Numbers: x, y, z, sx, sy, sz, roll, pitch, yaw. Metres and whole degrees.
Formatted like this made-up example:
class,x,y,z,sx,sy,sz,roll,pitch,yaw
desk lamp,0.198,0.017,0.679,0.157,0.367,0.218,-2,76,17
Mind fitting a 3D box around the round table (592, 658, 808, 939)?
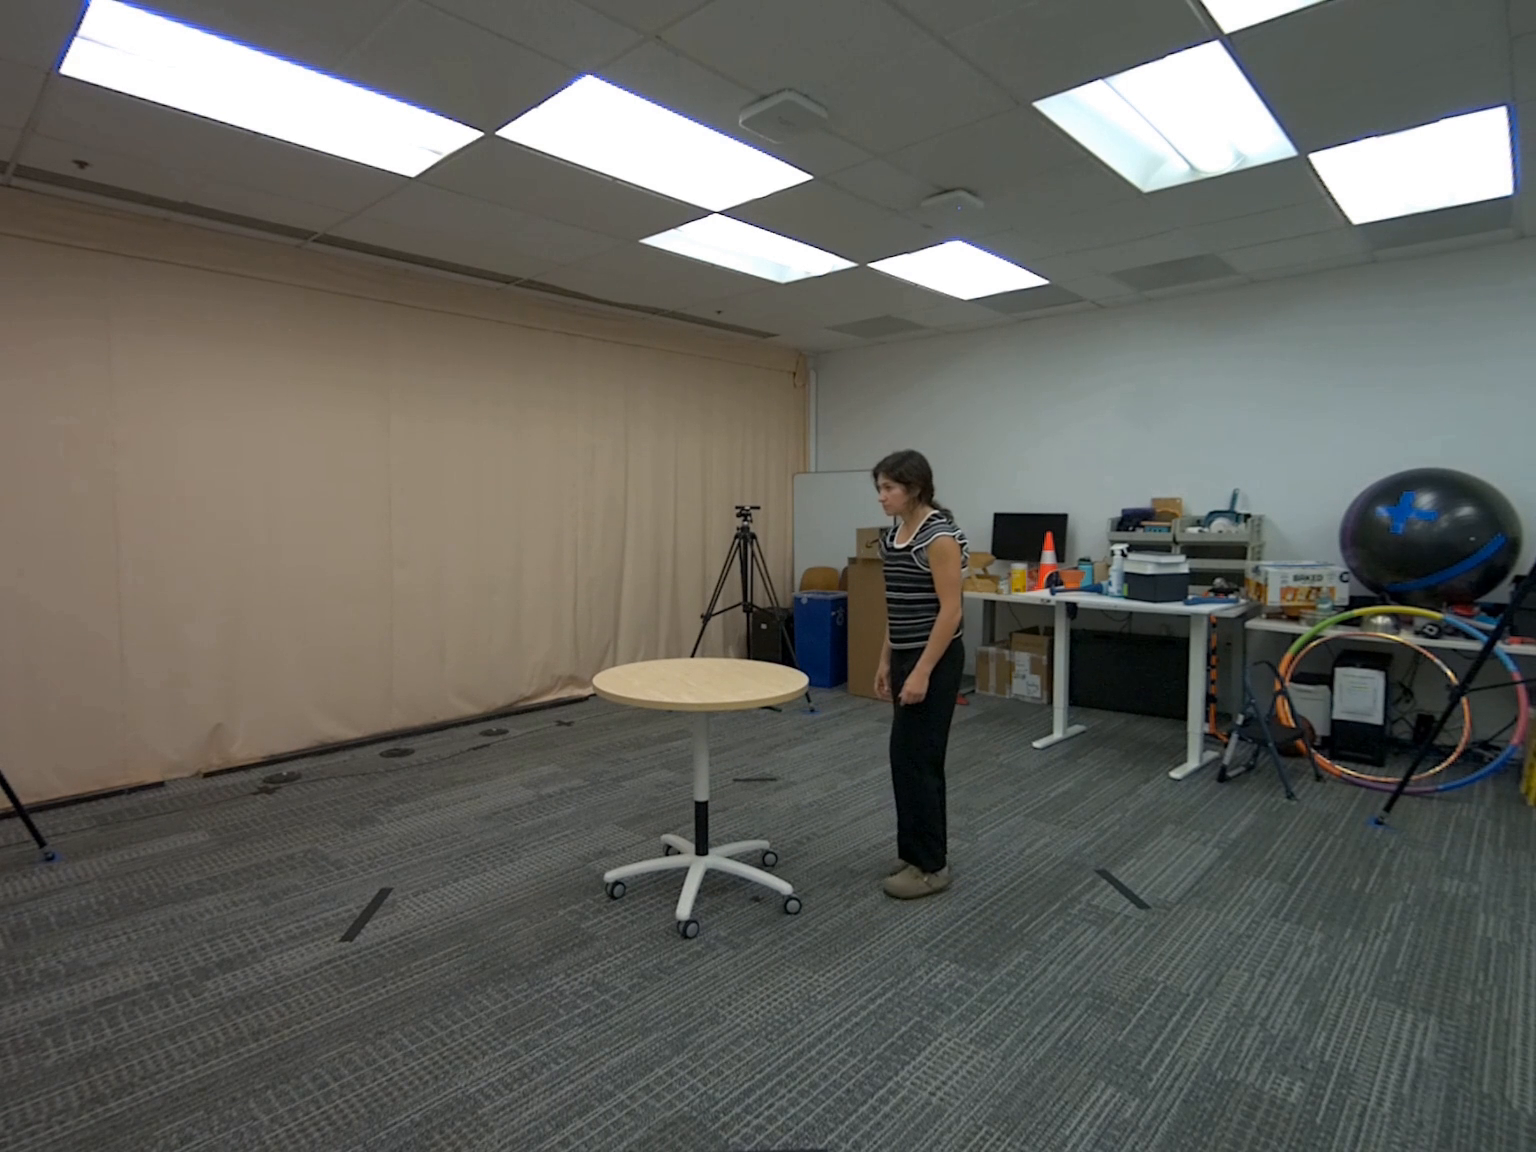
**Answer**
class,x,y,z,sx,sy,sz,roll,pitch,yaw
round table,-0.235,0.760,3.021,0.763,0.792,0.766,0,3,-2
